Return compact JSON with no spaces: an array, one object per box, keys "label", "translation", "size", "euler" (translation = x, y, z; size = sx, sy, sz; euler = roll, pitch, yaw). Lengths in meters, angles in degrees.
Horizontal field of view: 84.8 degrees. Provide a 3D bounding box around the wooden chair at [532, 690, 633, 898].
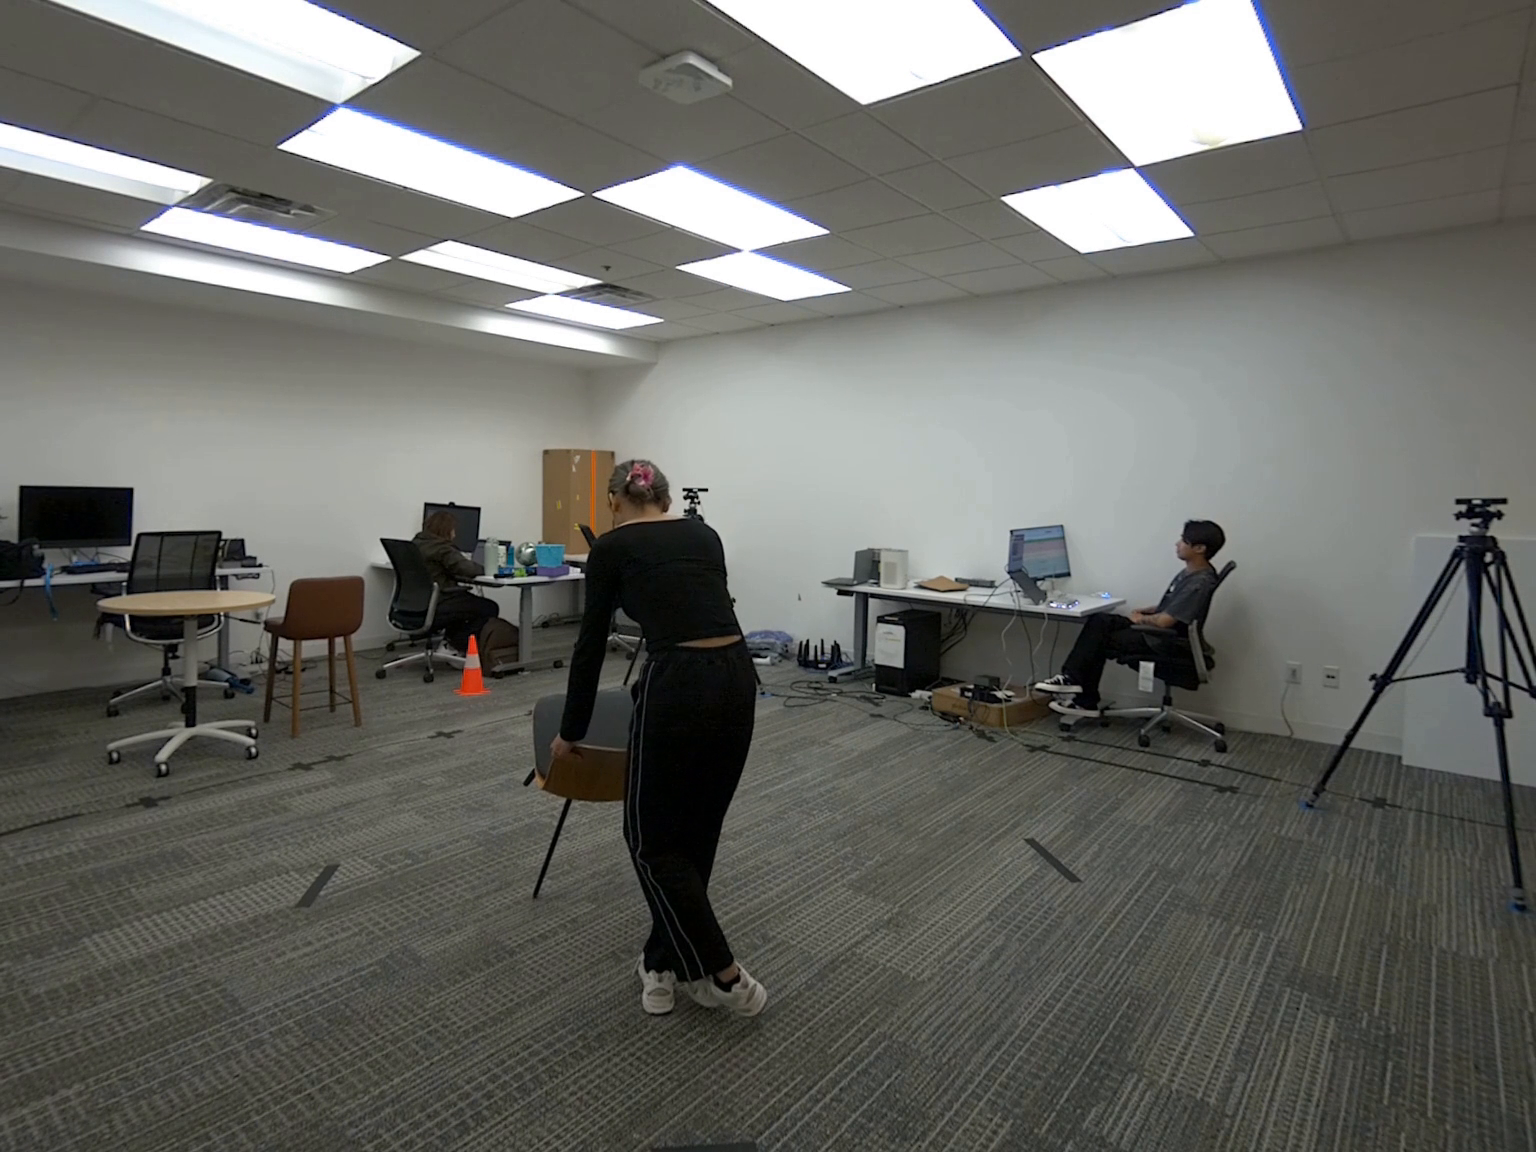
[{"label":"wooden chair","translation":[-0.560,0.602,2.849],"size":[0.469,0.862,0.543],"euler":[0,45,-20]}]
